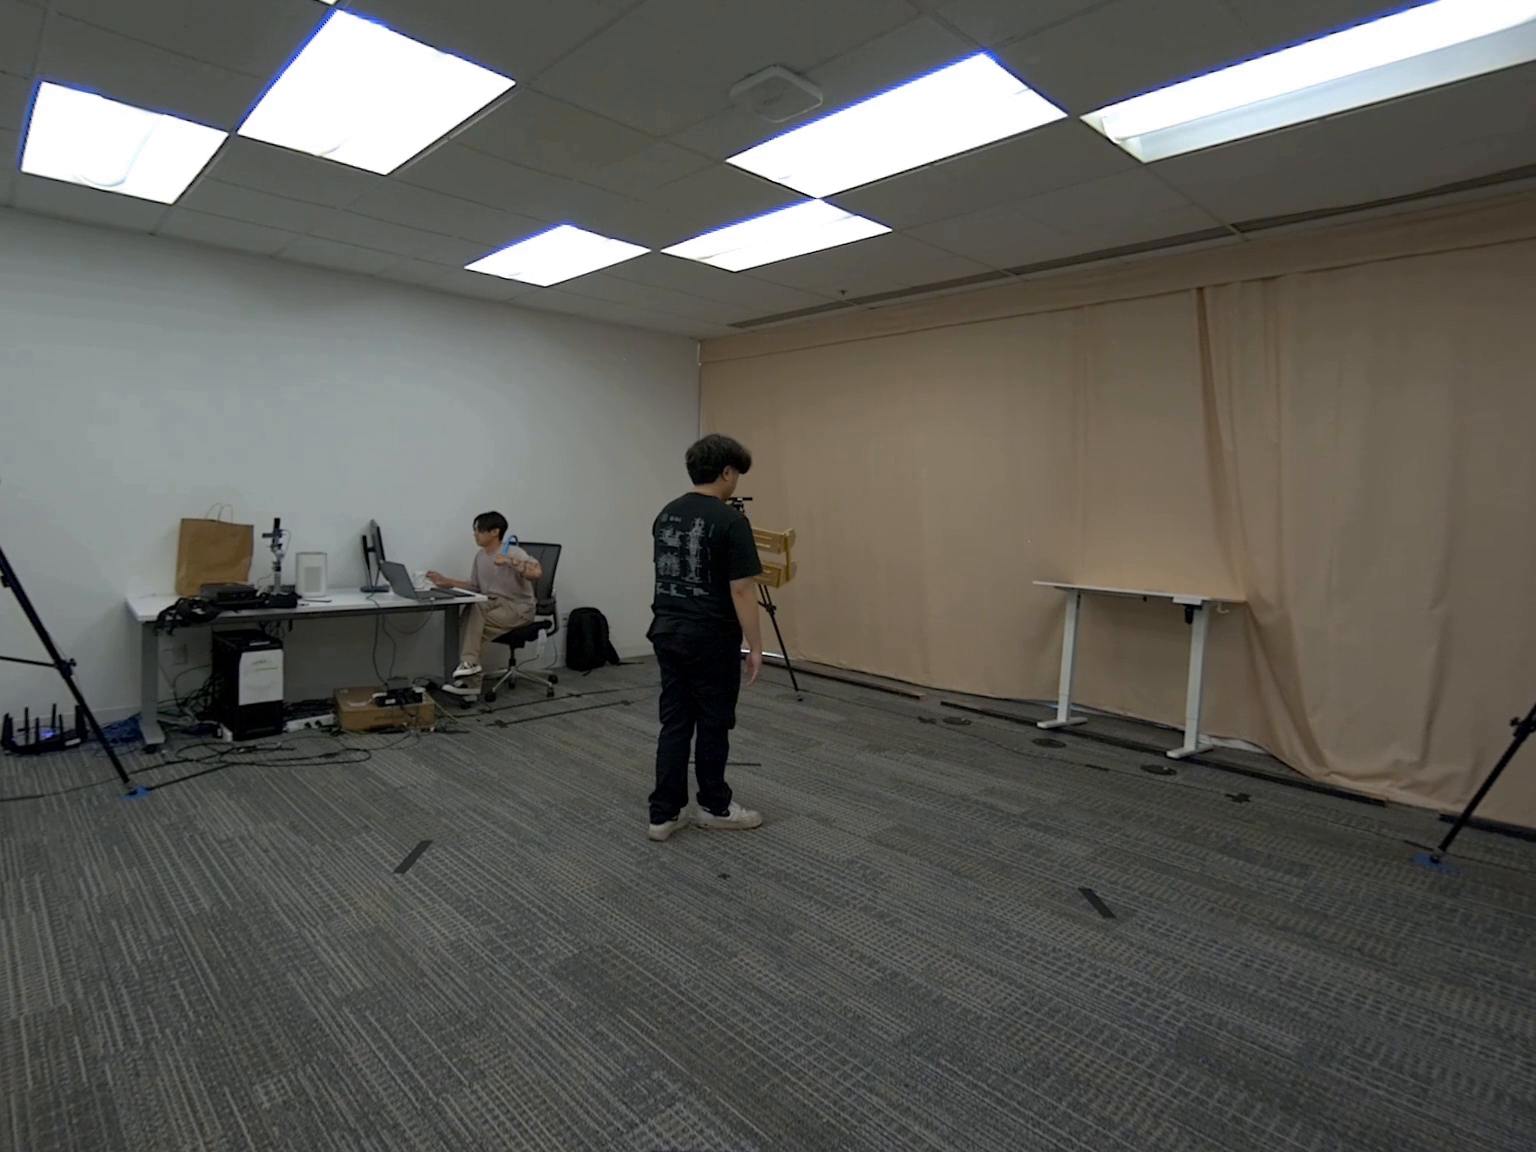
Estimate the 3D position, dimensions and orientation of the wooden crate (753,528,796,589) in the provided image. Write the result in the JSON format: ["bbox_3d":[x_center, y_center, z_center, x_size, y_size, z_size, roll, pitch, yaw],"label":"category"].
[{"bbox_3d":[-0.049,-0.128,3.883,0.329,0.271,0.300,11,16,16],"label":"wooden crate"}]
